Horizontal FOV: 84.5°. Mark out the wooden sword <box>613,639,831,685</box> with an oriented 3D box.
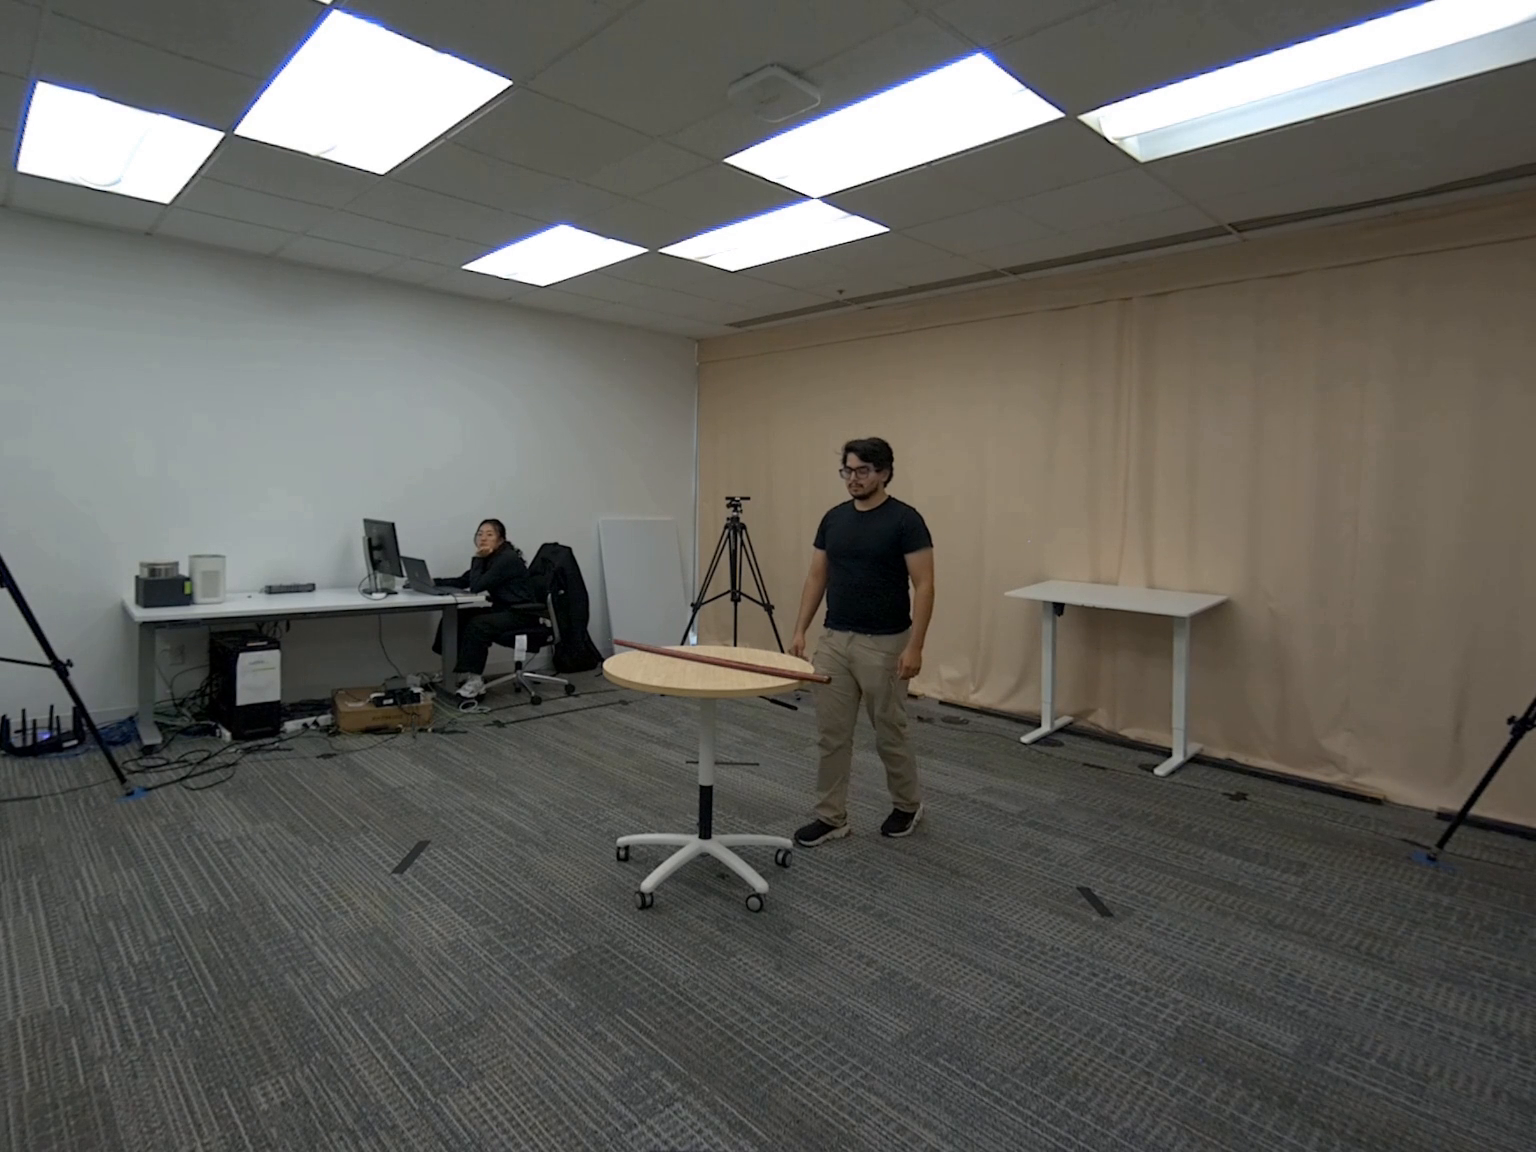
[{"bbox_3d":[-0.219,0.313,3.102,1.049,0.050,0.024,5,48,35],"label":"wooden sword"}]
